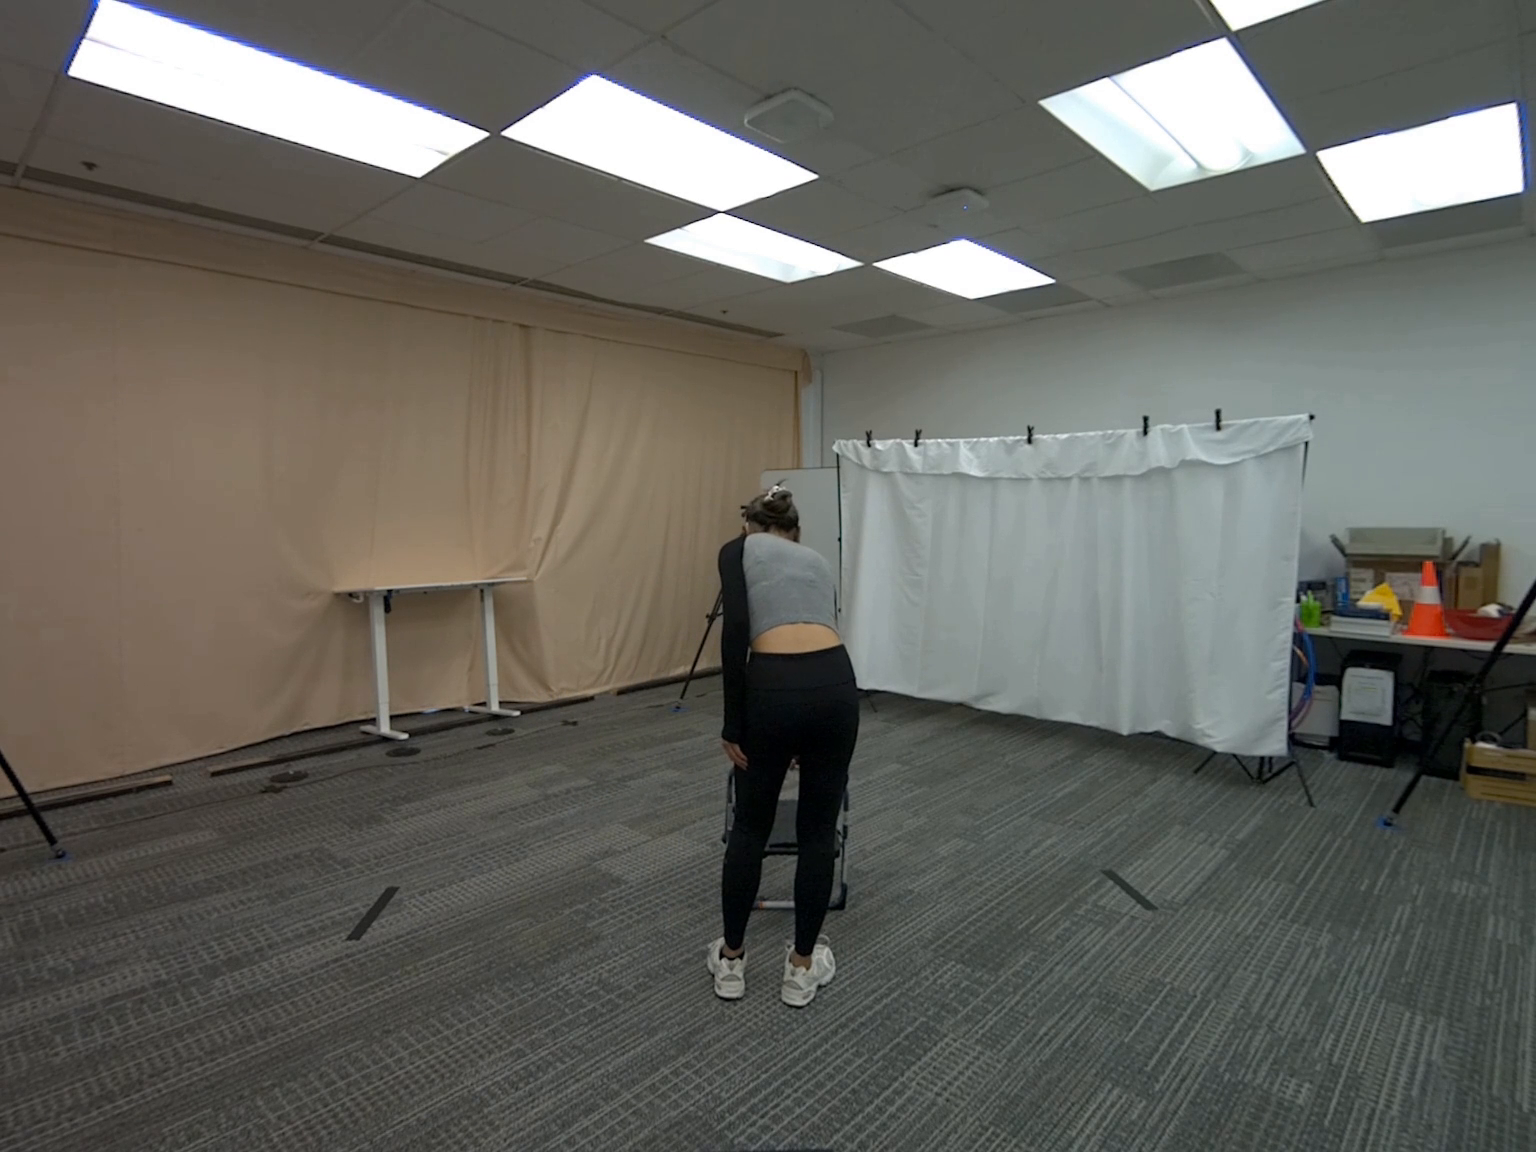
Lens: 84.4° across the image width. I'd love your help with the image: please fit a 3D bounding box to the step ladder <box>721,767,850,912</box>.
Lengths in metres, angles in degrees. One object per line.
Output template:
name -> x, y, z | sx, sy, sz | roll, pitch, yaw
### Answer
step ladder -> 0.064, 0.818, 2.913 | 0.430, 0.597, 0.355 | 0, 26, -2
